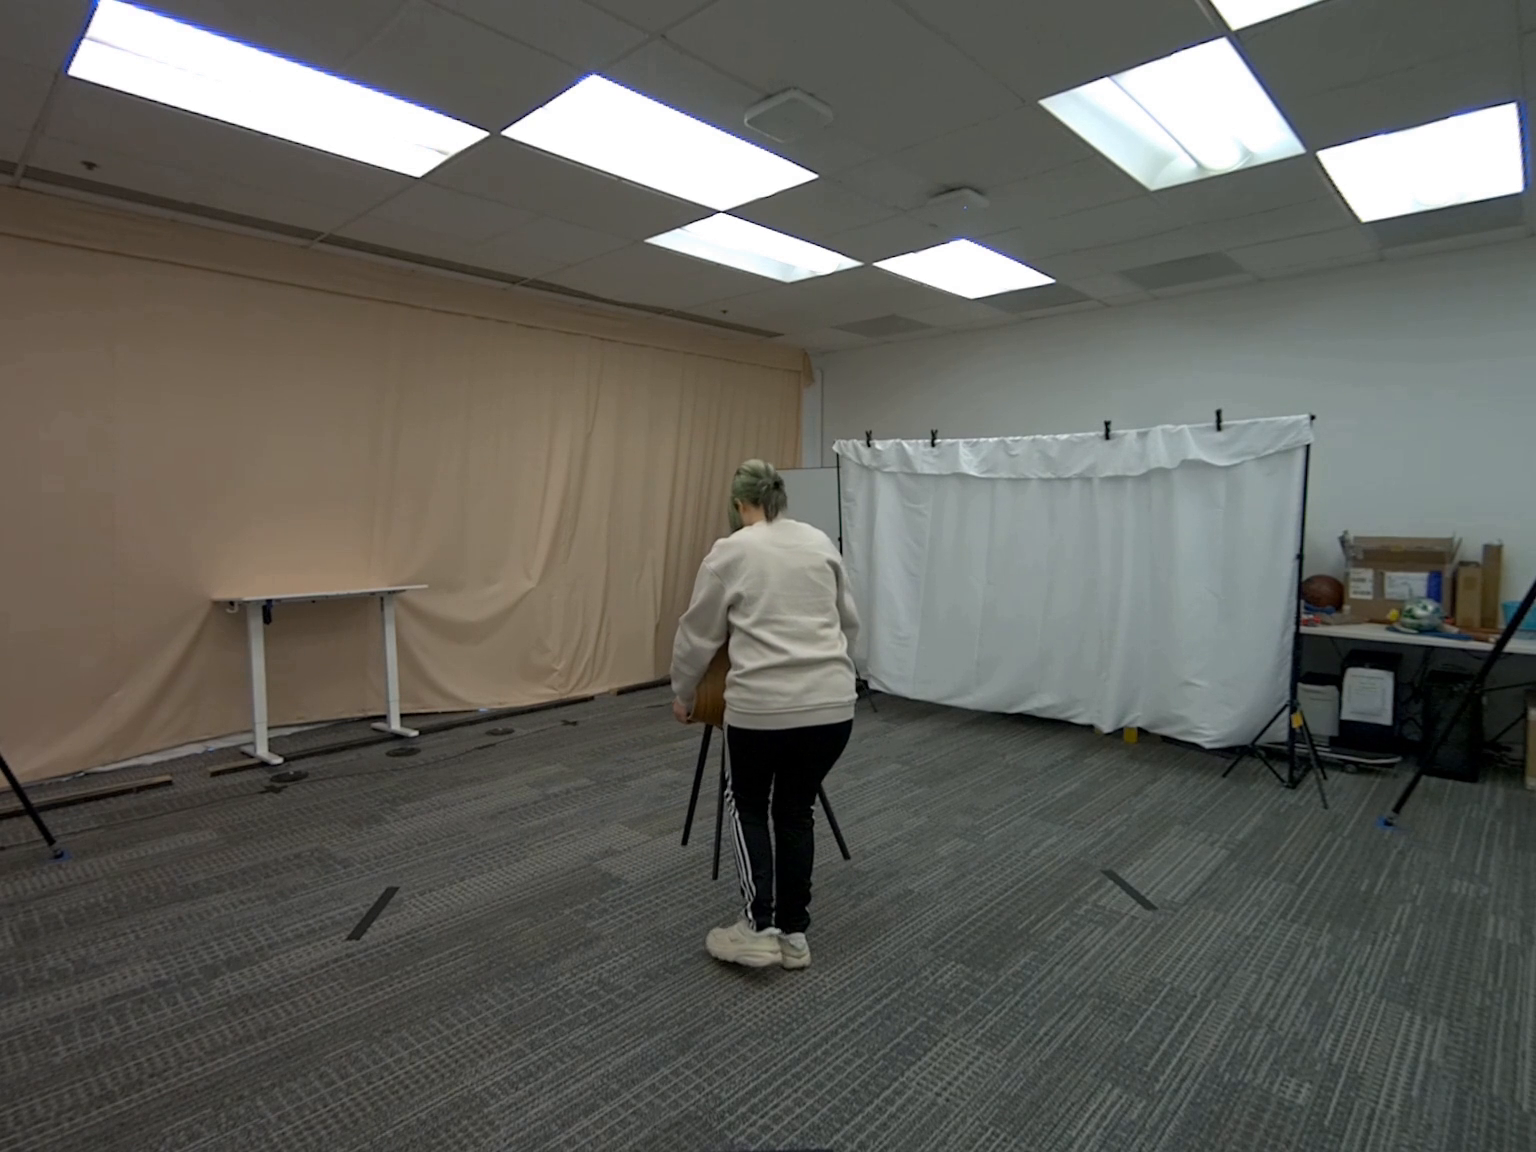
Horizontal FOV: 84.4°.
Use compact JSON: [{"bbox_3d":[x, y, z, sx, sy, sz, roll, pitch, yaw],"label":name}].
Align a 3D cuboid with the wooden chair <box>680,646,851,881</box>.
[{"bbox_3d":[-0.066,0.503,2.852,0.470,0.877,0.532,-4,0,-17],"label":"wooden chair"}]
